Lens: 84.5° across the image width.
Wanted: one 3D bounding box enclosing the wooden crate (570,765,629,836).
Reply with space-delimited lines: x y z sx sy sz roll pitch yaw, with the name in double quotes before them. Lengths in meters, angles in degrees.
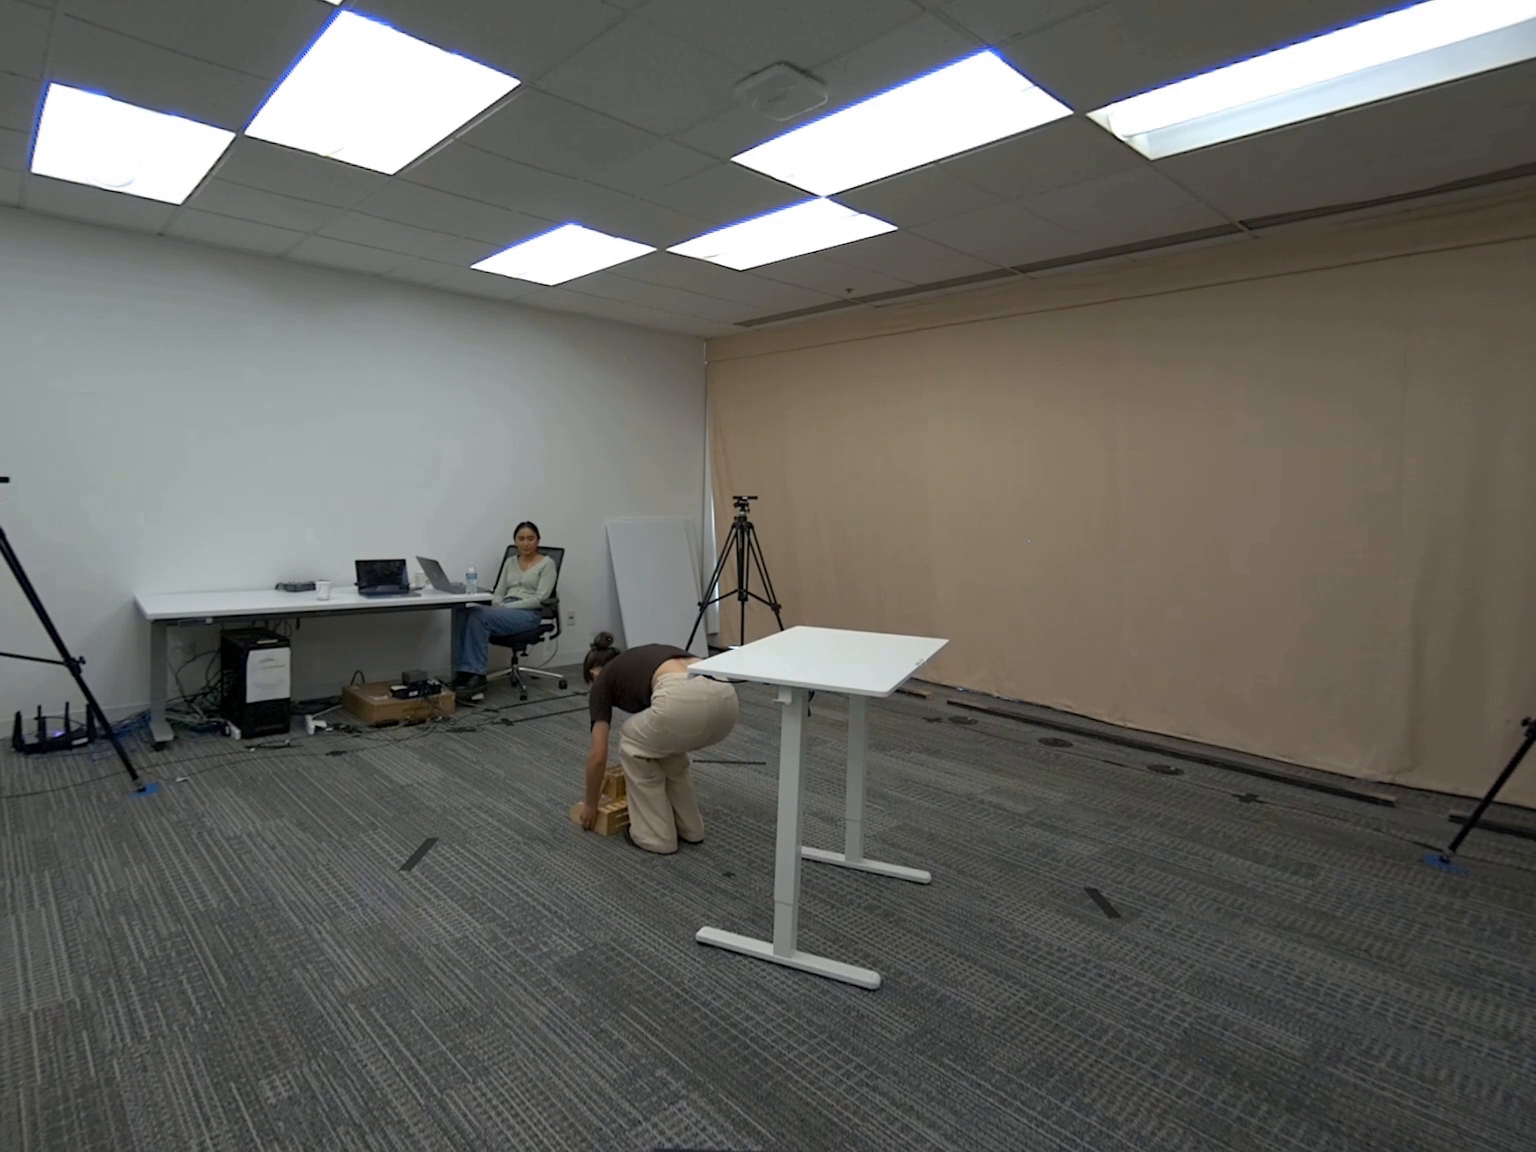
"wooden crate" -0.641 0.911 3.598 0.310 0.272 0.317 6 6 39
